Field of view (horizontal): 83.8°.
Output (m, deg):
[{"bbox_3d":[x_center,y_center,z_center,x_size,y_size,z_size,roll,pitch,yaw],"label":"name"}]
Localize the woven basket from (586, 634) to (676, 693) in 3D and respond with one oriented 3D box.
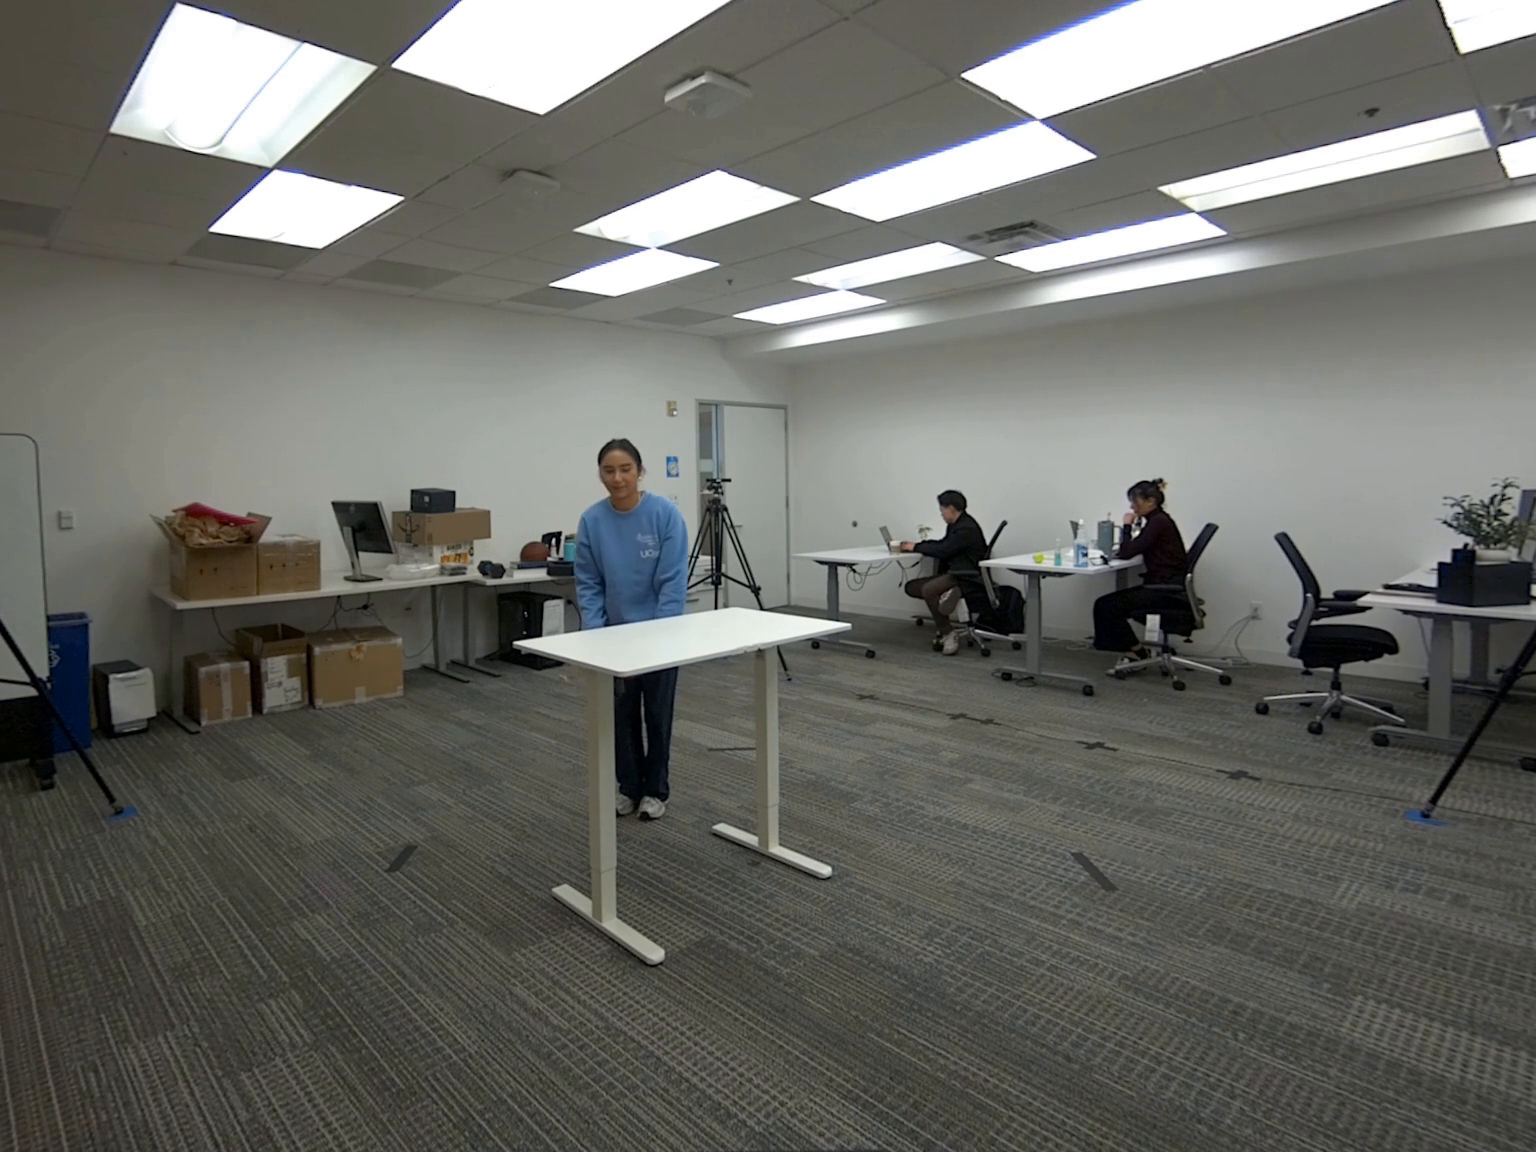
[{"bbox_3d":[-0.547,0.336,3.386,0.248,0.072,0.361,-12,17,-23],"label":"woven basket"}]
